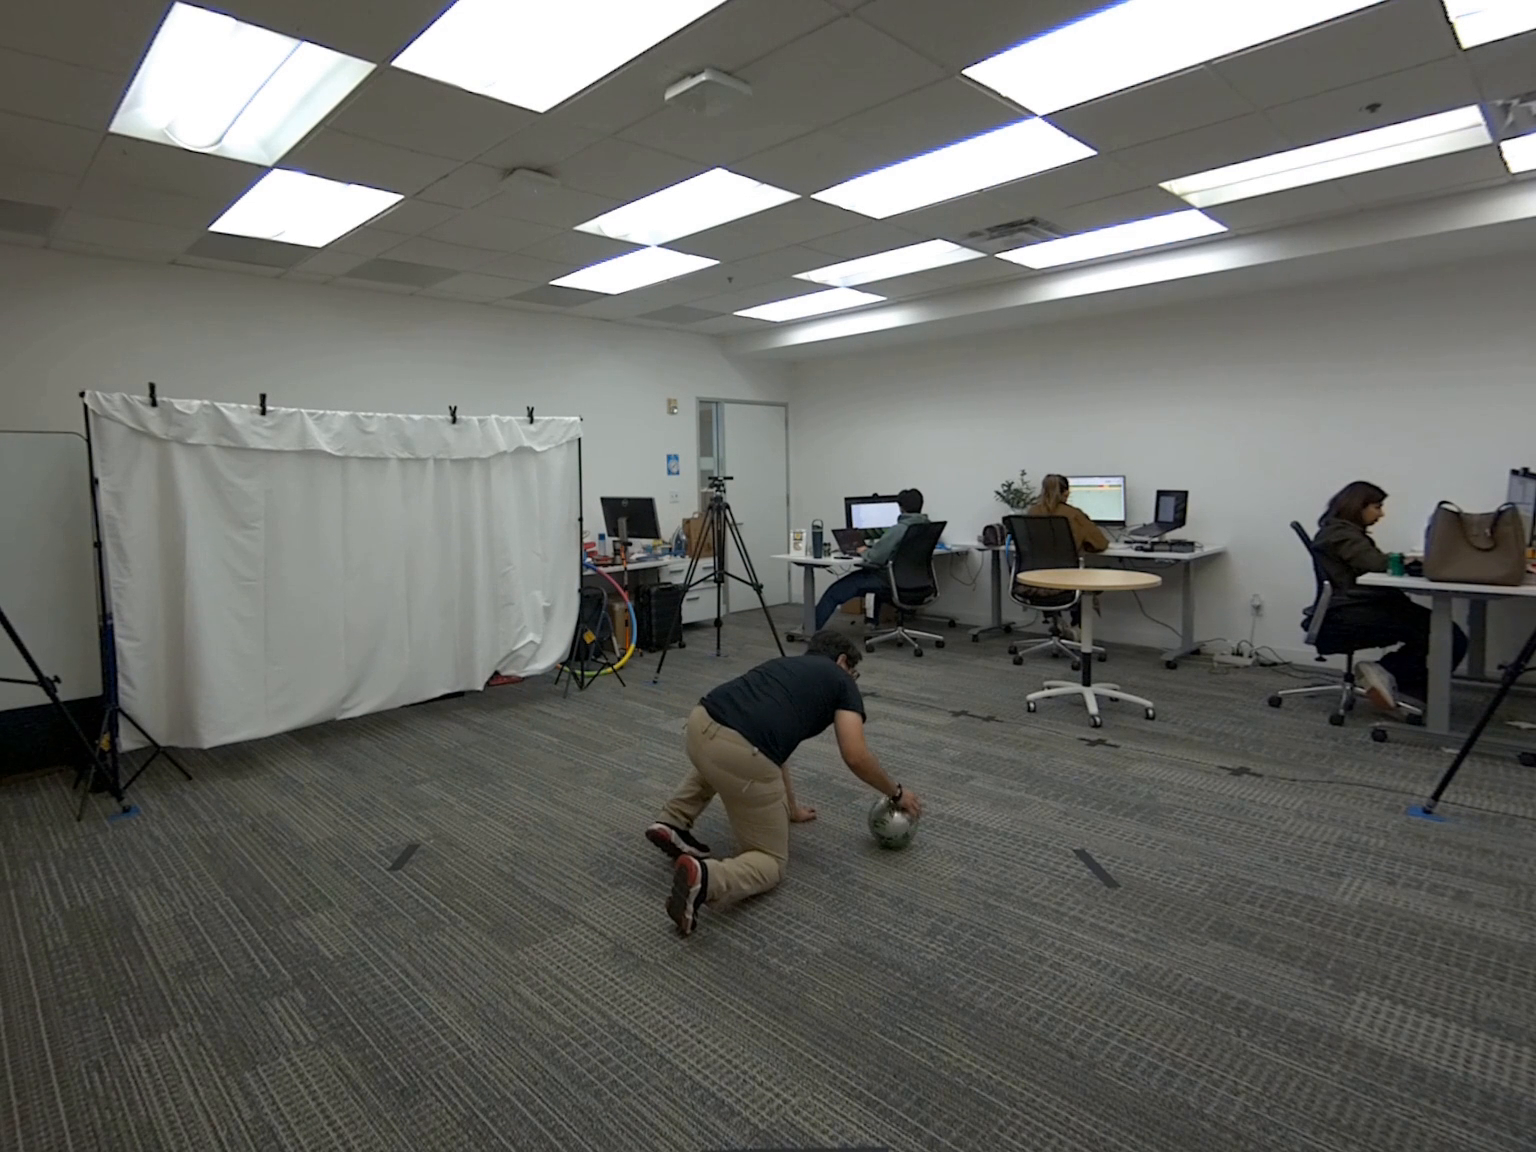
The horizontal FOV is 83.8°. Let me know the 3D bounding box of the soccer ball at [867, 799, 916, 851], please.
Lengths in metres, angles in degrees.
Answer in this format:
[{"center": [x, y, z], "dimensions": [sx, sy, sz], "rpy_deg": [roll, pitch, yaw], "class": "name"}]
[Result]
[{"center": [0.469, 0.908, 3.199], "dimensions": [0.187, 0.187, 0.188], "rpy_deg": [-1, 5, -2], "class": "soccer ball"}]
